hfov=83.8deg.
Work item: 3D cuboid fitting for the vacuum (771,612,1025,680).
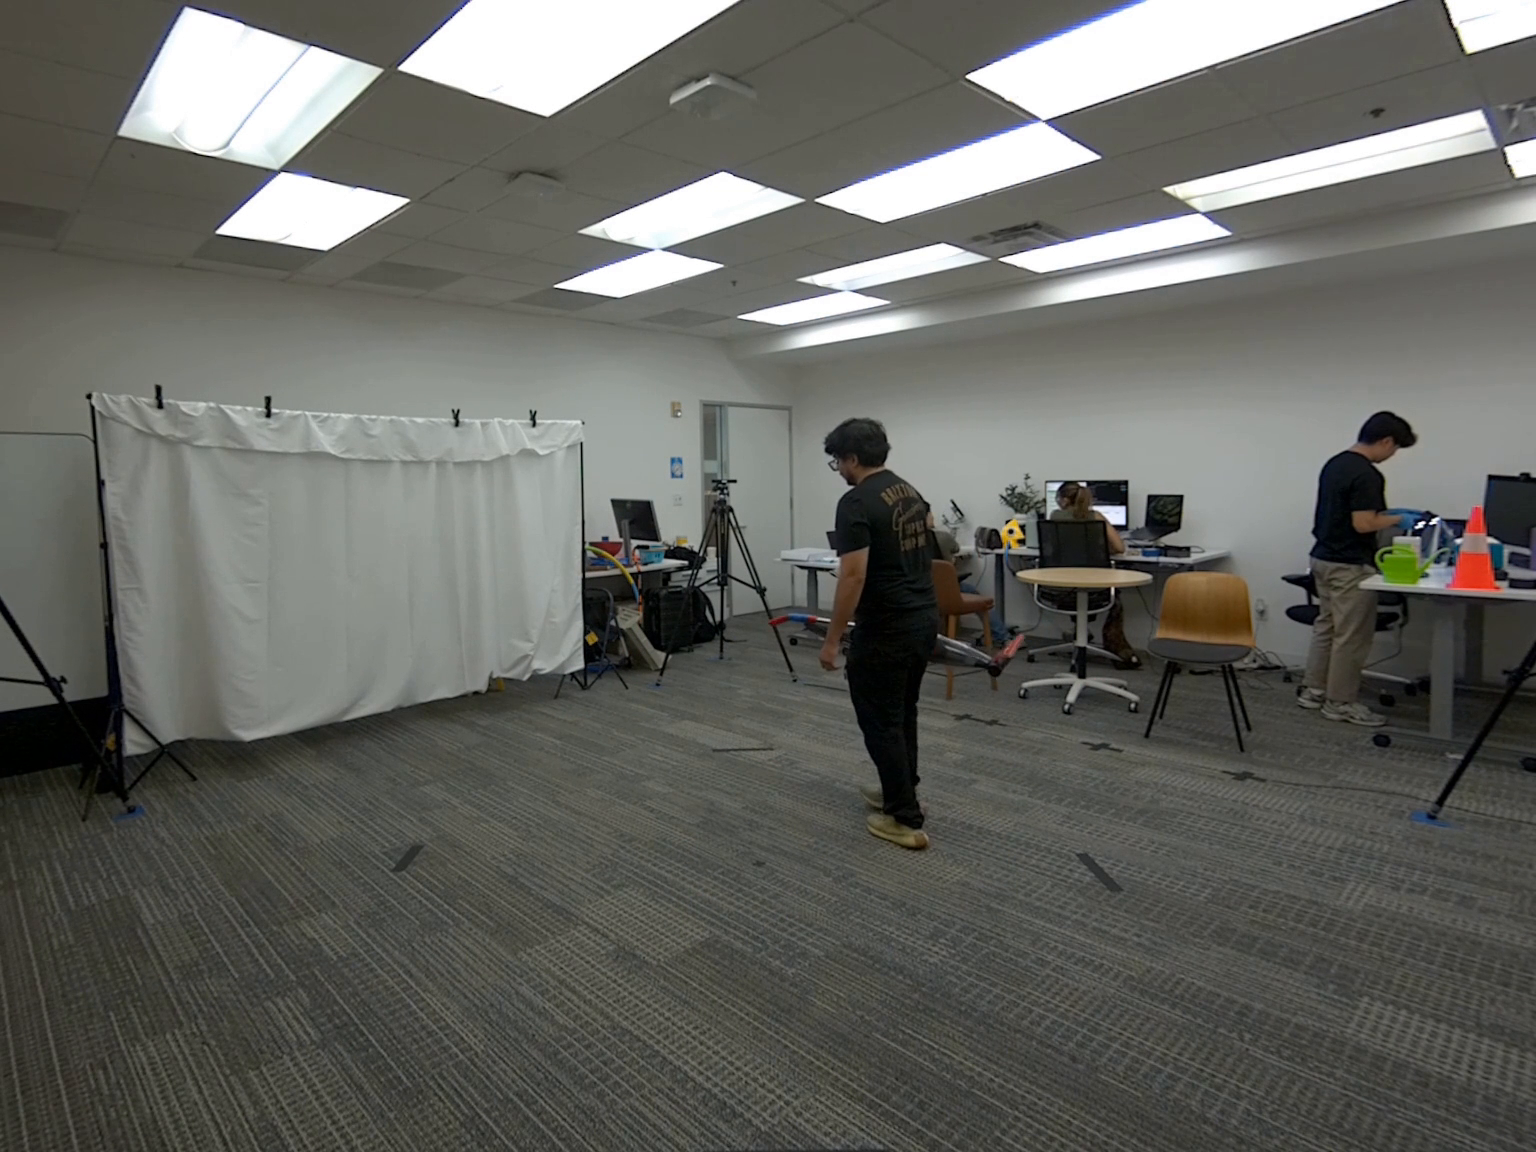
[{"bbox_3d":[0.484,0.271,3.637,1.077,0.142,0.249,6,16,28],"label":"vacuum"}]
